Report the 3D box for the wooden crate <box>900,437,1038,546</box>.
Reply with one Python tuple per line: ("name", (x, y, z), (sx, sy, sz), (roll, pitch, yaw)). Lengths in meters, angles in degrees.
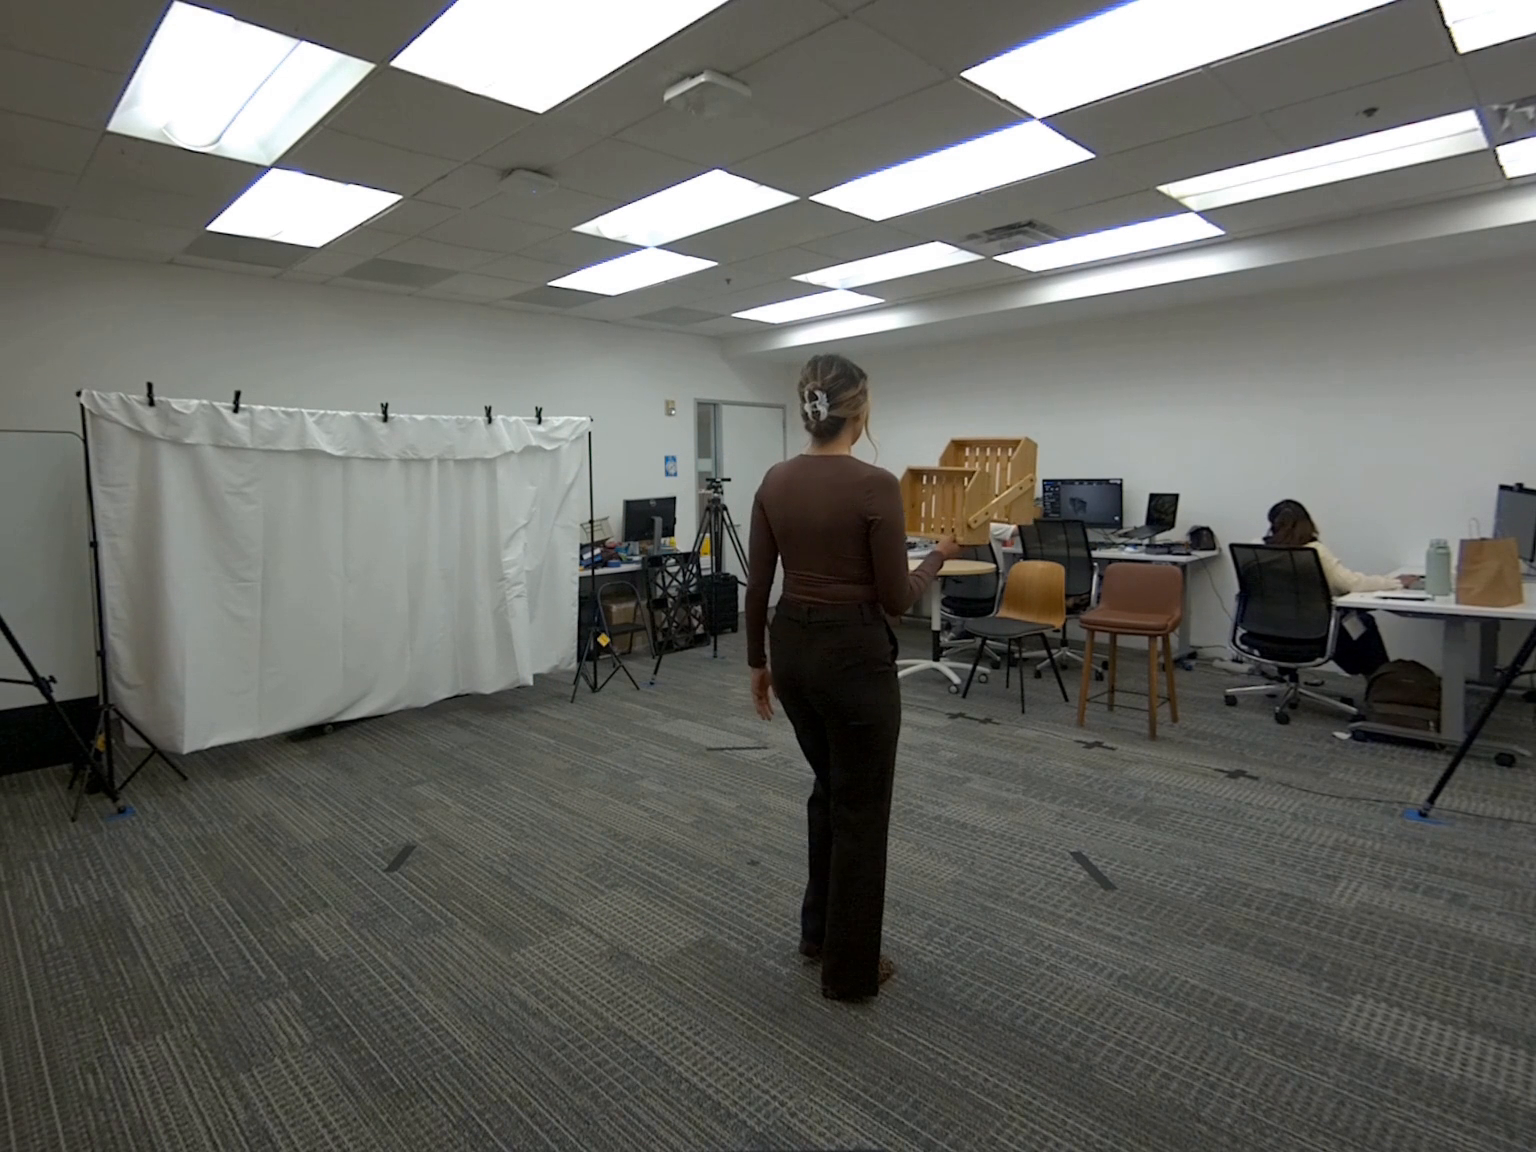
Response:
("wooden crate", (0.573, -0.261, 2.500), (0.267, 0.300, 0.334), (-2, 7, -30))
